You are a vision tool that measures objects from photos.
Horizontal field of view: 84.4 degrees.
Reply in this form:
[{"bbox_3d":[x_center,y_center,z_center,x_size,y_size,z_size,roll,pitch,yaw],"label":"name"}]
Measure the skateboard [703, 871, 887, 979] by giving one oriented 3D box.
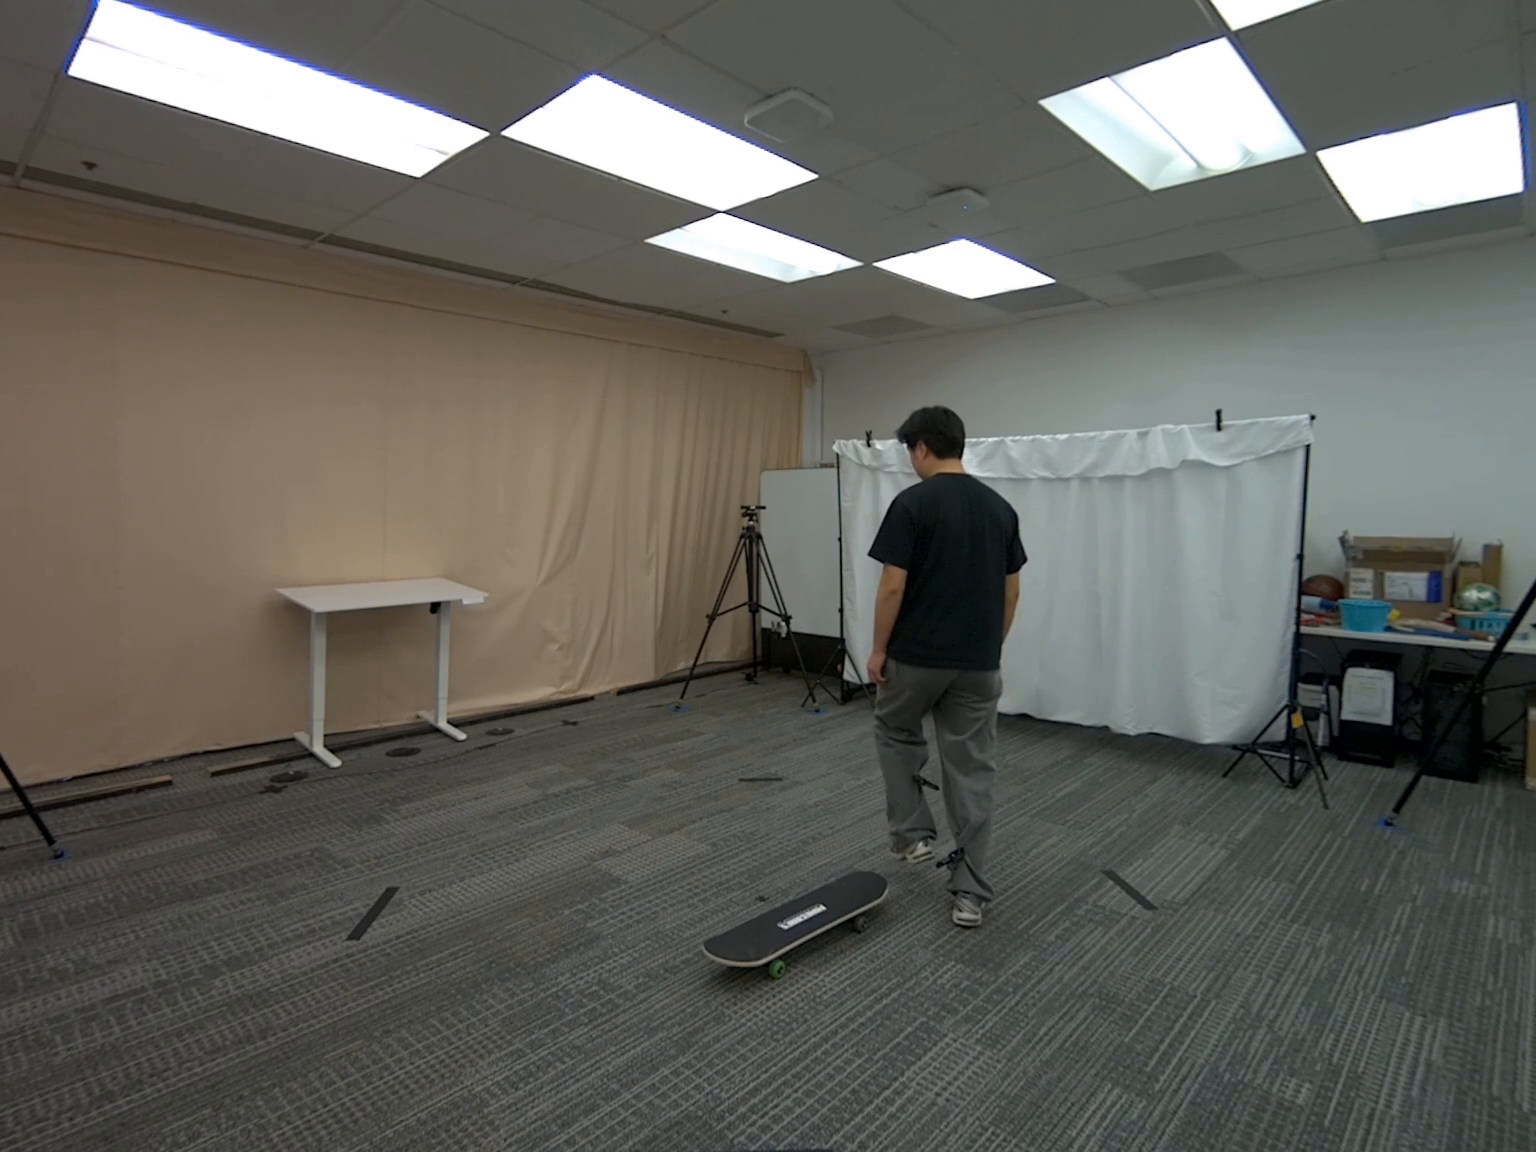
[{"bbox_3d":[0.109,1.120,2.668,0.761,0.110,0.200,-5,6,-44],"label":"skateboard"}]
